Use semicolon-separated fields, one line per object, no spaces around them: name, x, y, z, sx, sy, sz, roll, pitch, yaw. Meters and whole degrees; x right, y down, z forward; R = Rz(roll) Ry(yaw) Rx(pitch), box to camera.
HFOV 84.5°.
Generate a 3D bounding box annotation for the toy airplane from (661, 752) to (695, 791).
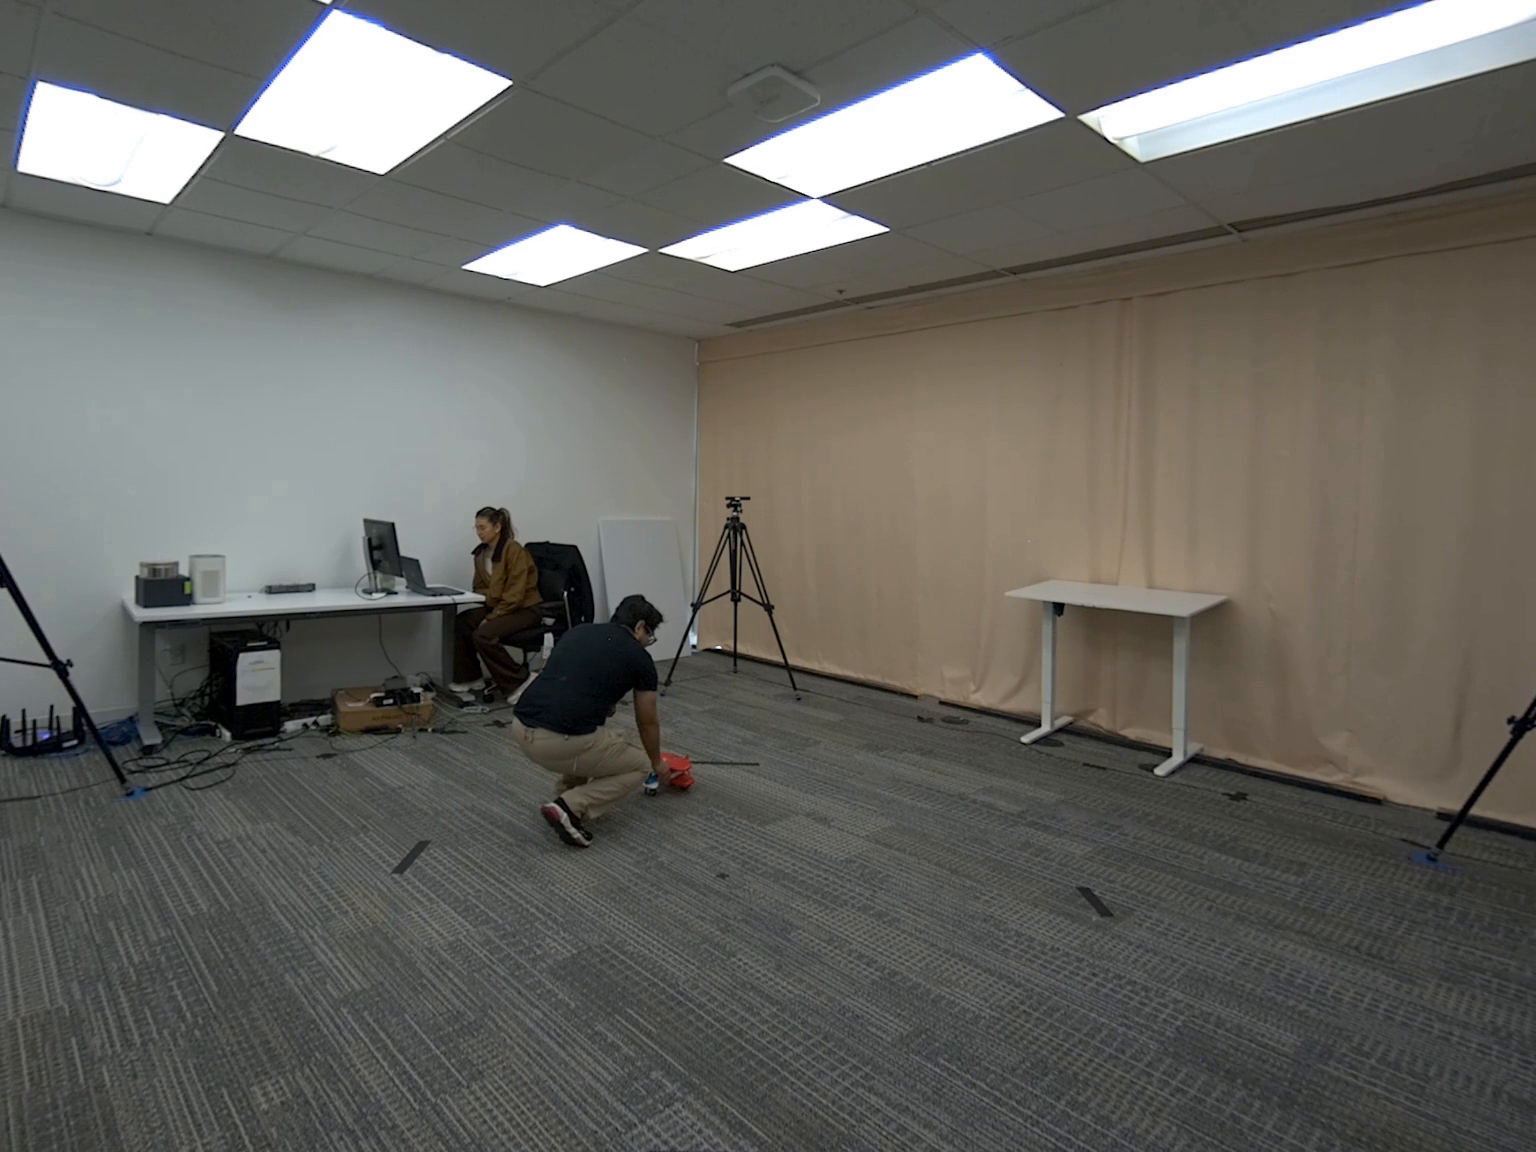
toy airplane;-0.479;0.948;3.995;0.255;0.156;0.256;3;4;17
